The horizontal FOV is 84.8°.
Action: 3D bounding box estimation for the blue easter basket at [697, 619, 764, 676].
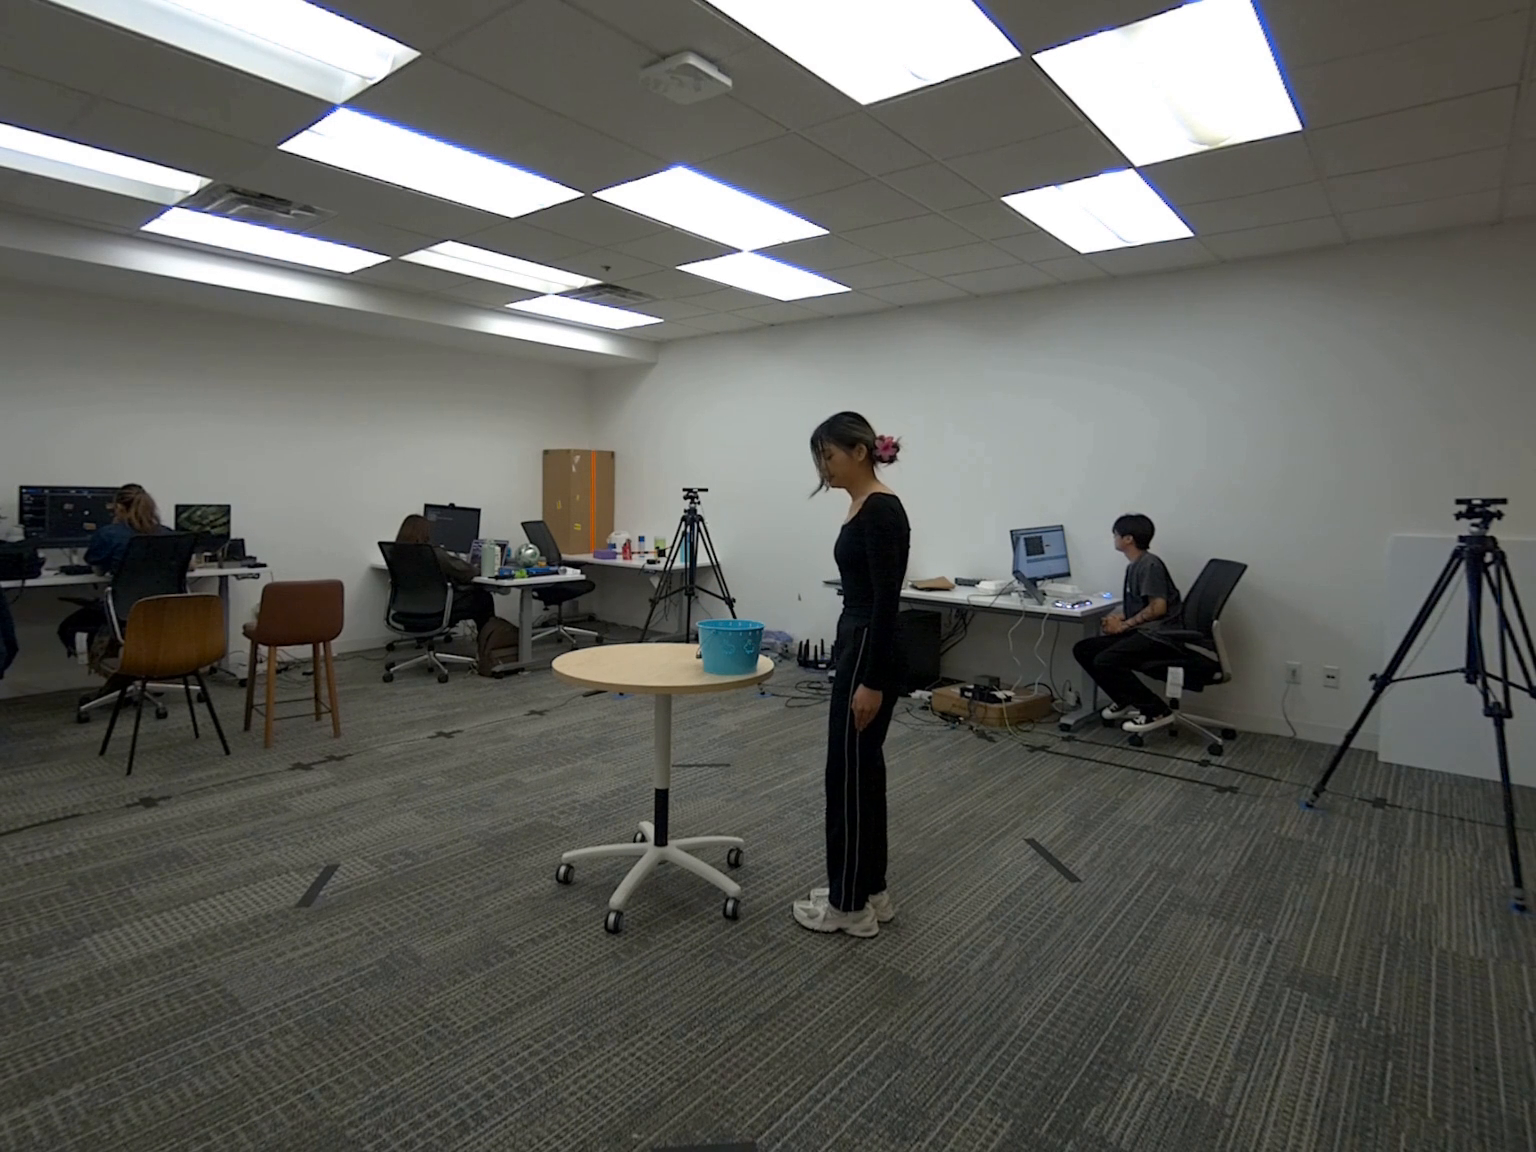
[{"bbox_3d":[-0.127,0.237,2.855,0.243,0.155,0.245,2,4,-2],"label":"blue easter basket"}]
